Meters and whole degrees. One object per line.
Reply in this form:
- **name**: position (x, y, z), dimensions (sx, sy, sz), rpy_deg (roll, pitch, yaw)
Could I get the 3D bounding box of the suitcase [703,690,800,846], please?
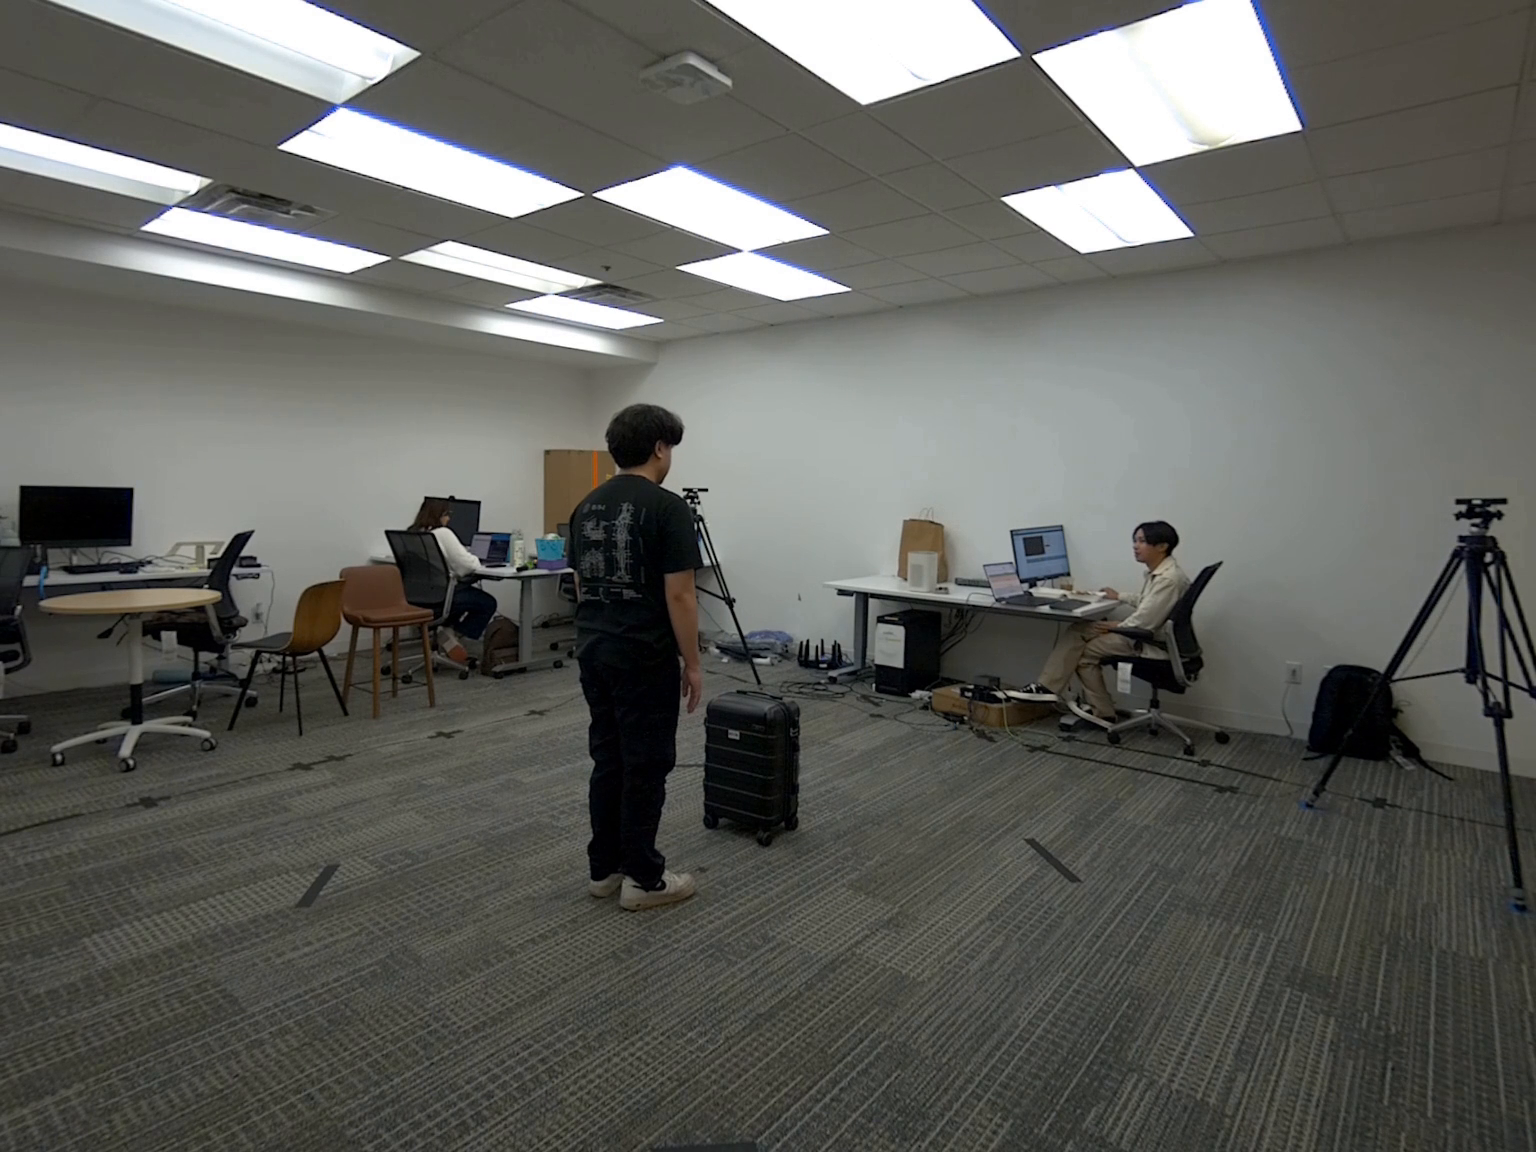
- **suitcase**: position (-0.072, 0.757, 3.506), dimensions (0.387, 0.548, 0.241), rpy_deg (4, 3, 32)
